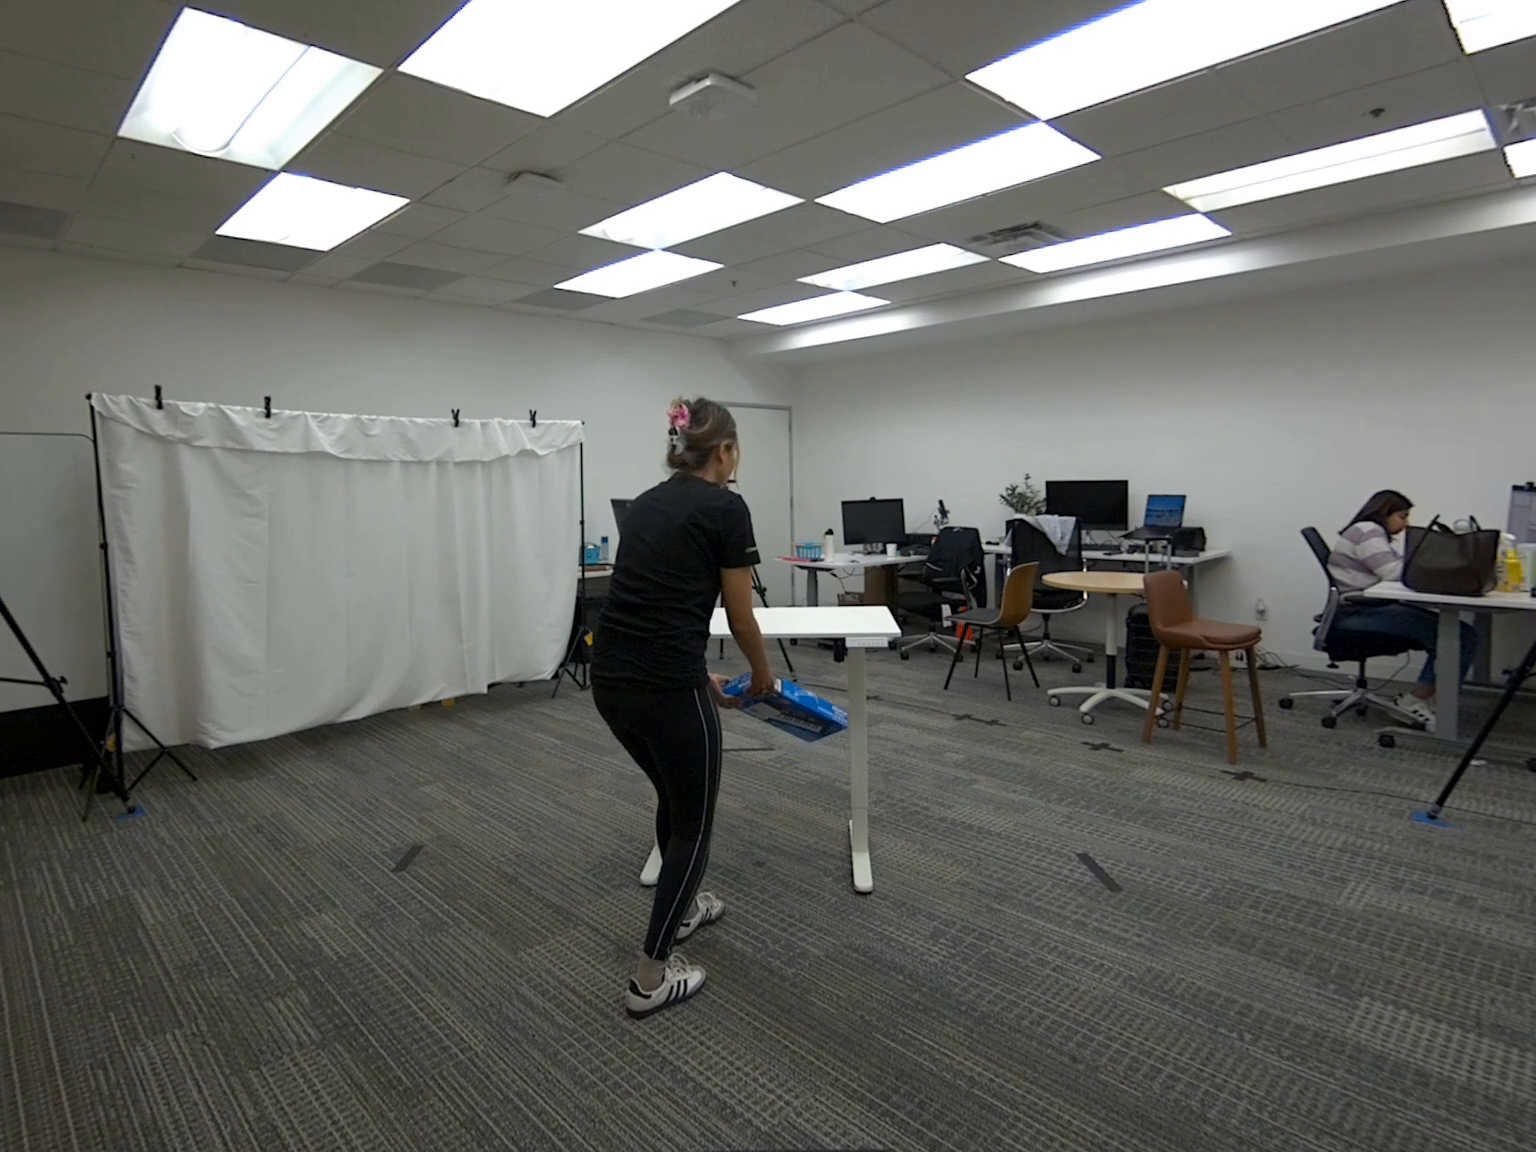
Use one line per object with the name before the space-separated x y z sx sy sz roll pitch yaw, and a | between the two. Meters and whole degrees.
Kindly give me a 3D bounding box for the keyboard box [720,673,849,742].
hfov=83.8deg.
keyboard box | 0.062 0.427 2.763 0.178 0.060 0.421 -30 -46 34
